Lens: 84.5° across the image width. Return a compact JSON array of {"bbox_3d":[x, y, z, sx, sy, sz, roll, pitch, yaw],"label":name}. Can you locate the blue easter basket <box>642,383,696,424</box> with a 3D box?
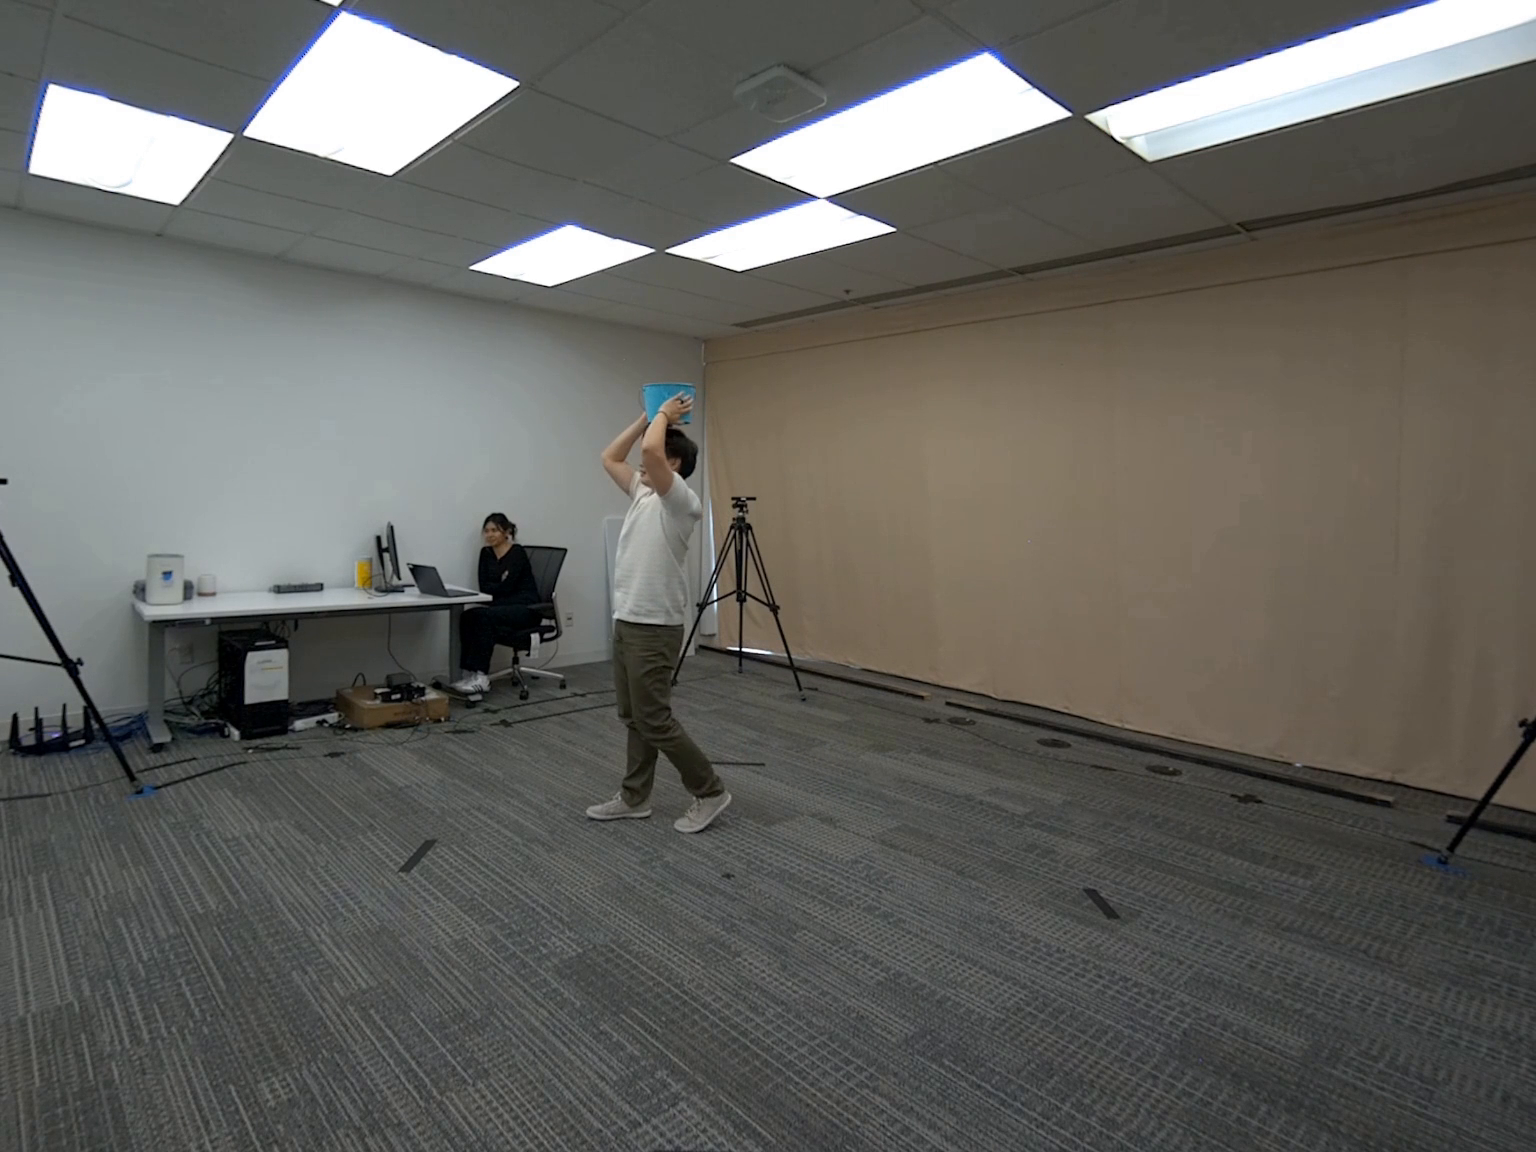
[{"bbox_3d":[-0.430,-0.724,3.562,0.243,0.155,0.244,1,5,-1],"label":"blue easter basket"}]
